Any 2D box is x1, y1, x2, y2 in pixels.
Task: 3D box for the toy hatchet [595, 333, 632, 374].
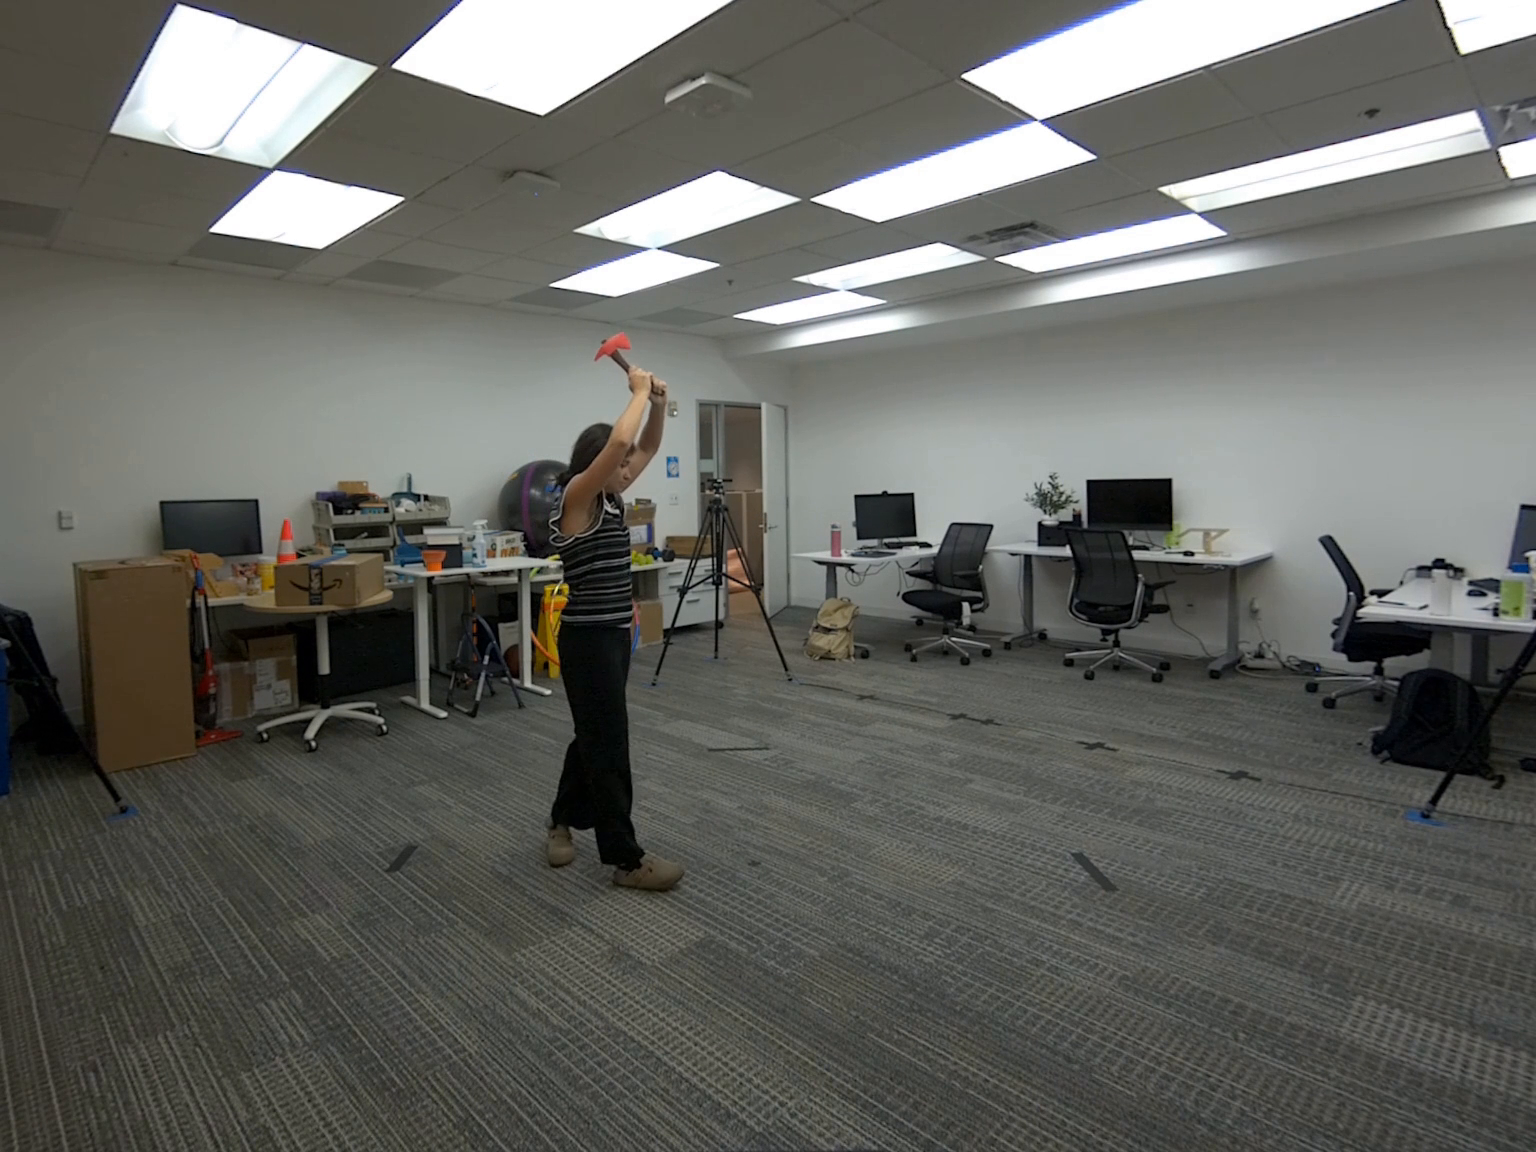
[{"bbox_3d":[-0.454,-0.738,2.933,0.265,0.131,0.030,28,-3,-14],"label":"toy hatchet"}]
